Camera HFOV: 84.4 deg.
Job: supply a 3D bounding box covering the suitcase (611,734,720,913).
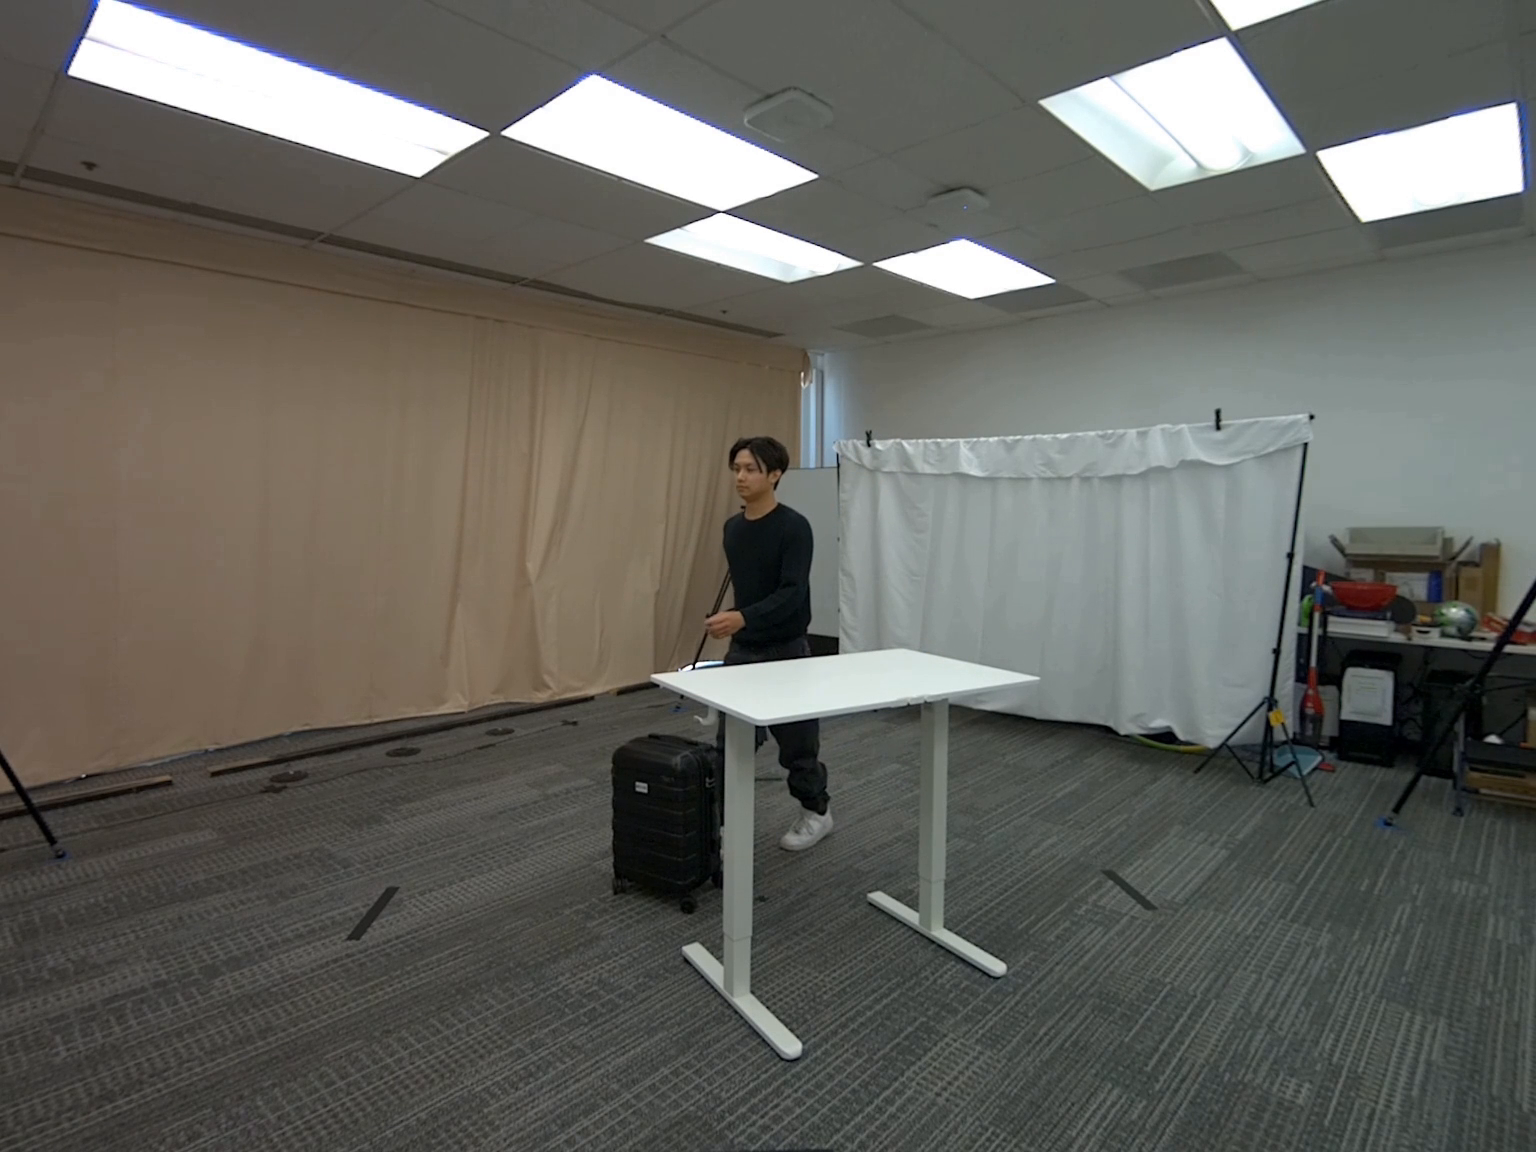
[{"bbox_3d":[-0.368,0.860,3.051,0.386,0.548,0.241,2,3,30],"label":"suitcase"}]
